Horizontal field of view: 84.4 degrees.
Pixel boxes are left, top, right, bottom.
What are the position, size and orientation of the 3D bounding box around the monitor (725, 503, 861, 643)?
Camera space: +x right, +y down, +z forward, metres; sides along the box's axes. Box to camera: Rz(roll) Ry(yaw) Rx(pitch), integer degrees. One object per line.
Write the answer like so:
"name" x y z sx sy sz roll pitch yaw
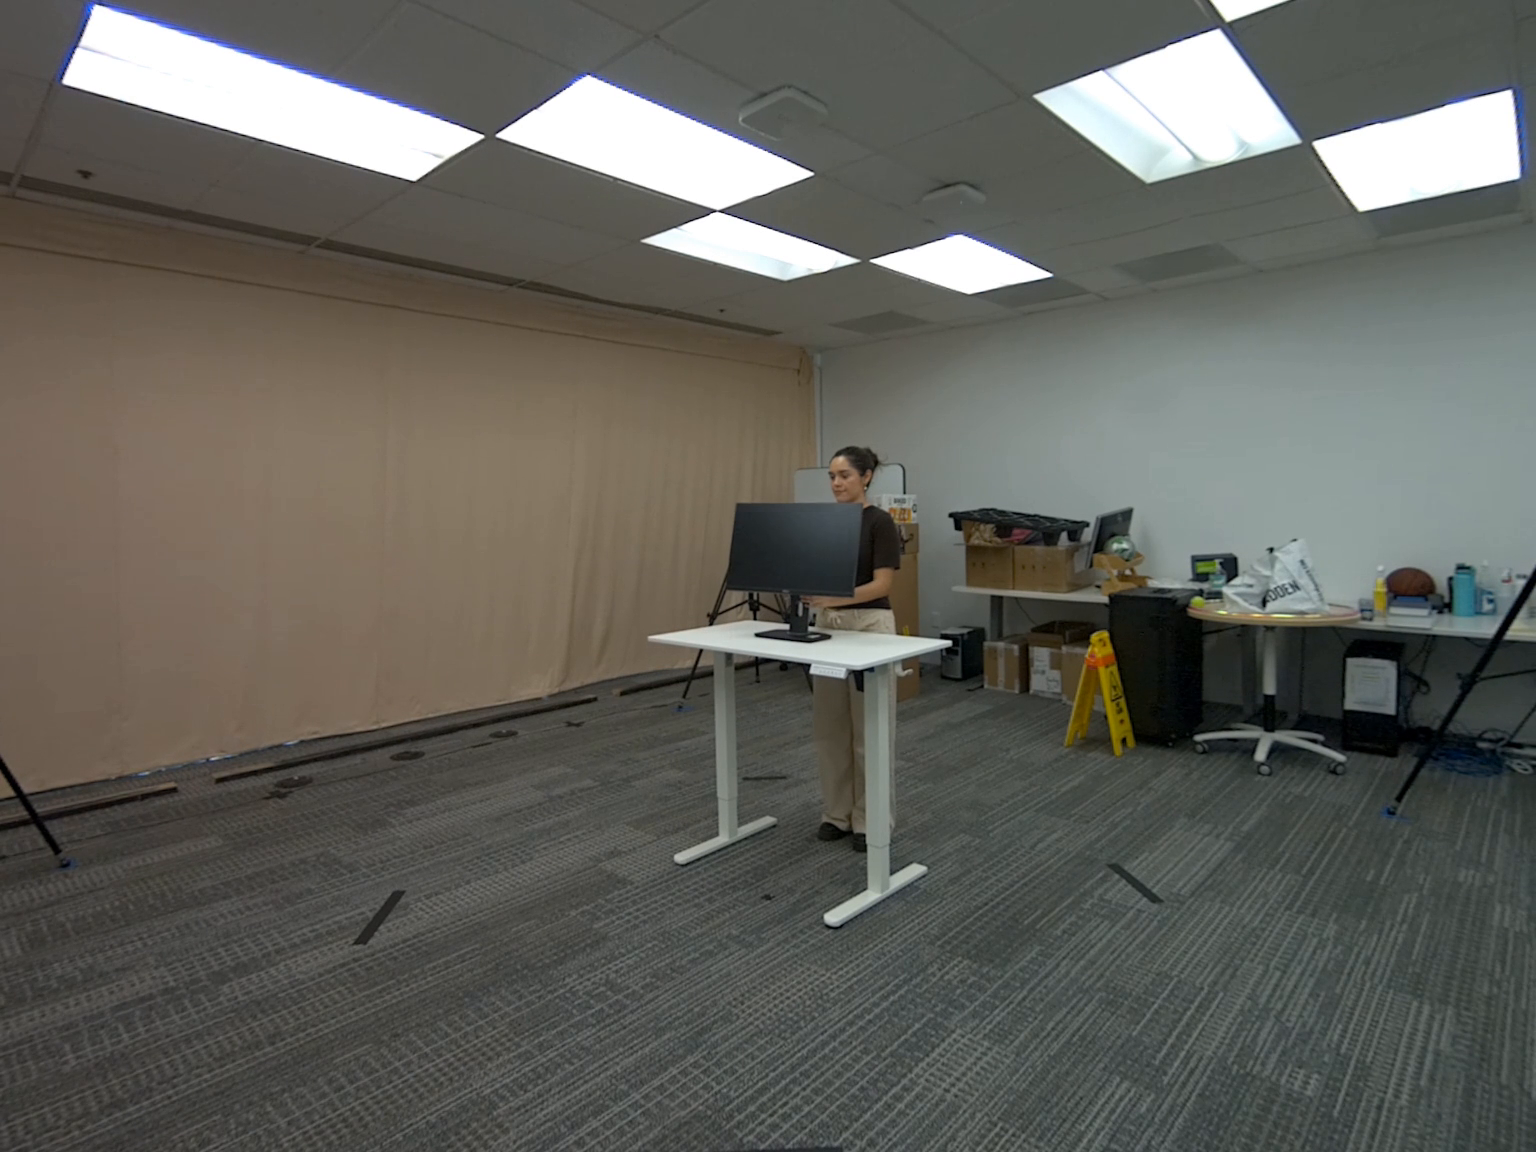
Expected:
"monitor" 0.105 -0.018 3.213 0.554 0.522 0.182 2 3 28
